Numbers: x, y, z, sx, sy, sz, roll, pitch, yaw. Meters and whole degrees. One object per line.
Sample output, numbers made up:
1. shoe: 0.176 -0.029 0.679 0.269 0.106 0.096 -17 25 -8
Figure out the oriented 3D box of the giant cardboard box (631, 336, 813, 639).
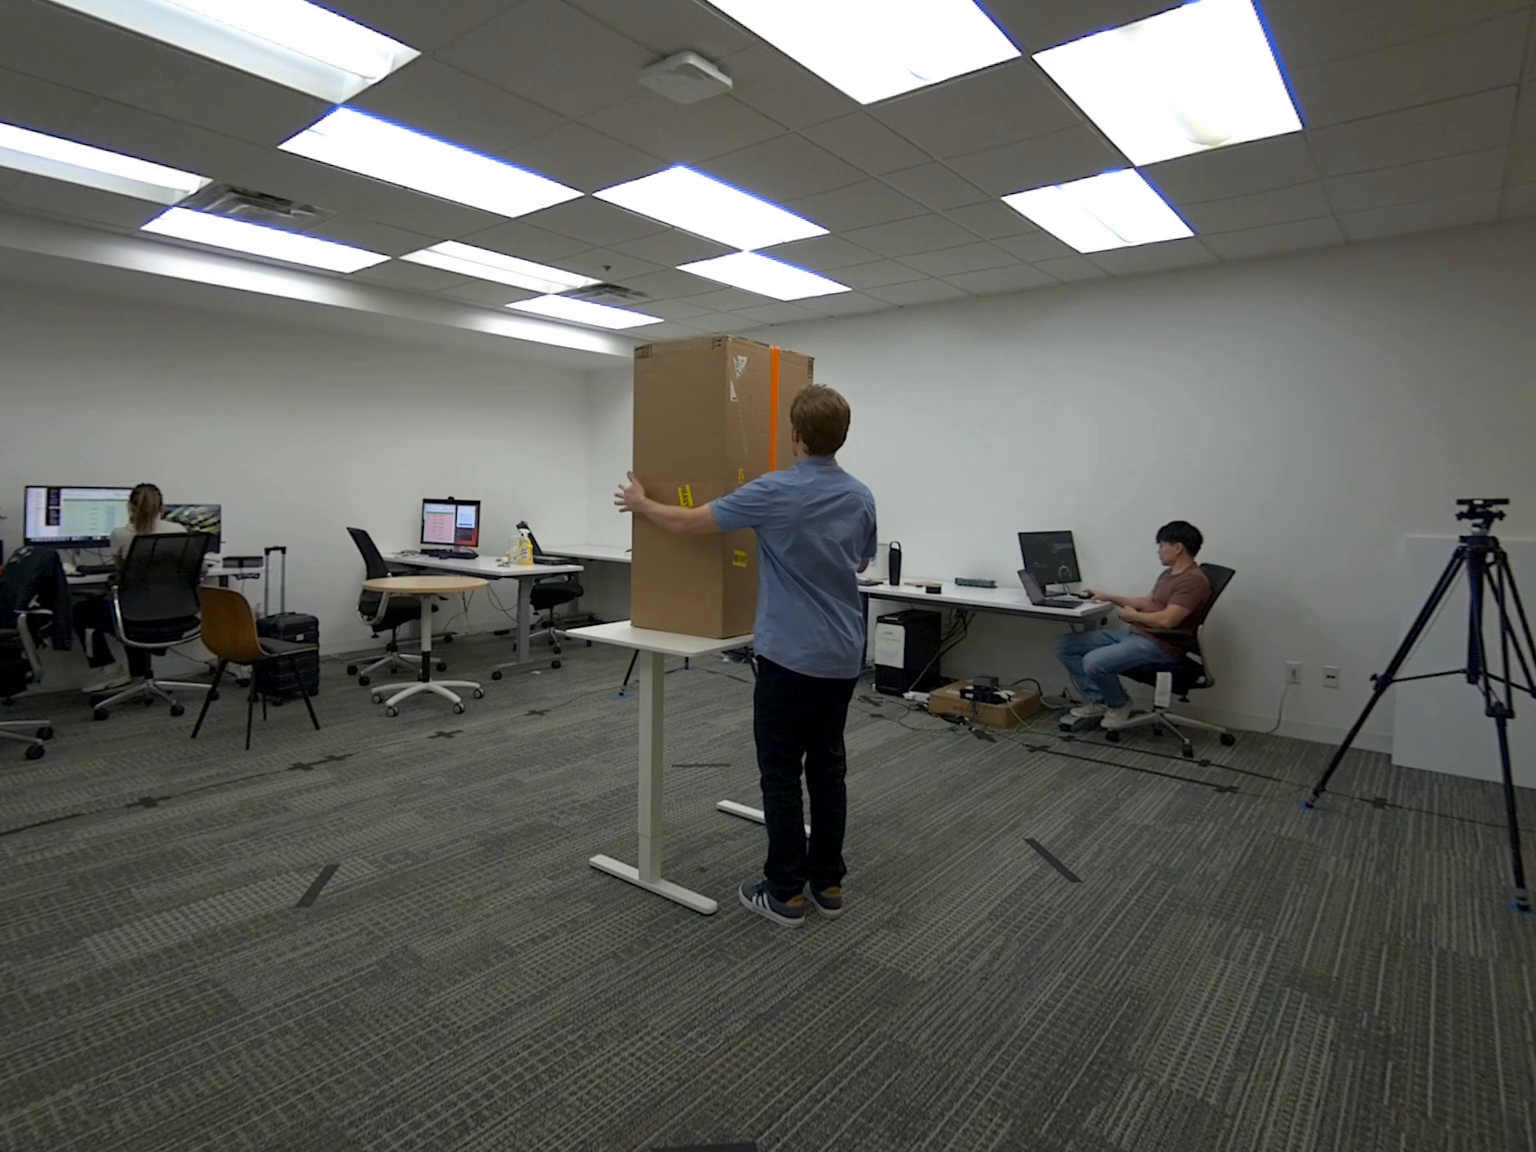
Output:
1. giant cardboard box: -0.171 -0.328 3.190 0.440 1.023 0.561 3 4 35
